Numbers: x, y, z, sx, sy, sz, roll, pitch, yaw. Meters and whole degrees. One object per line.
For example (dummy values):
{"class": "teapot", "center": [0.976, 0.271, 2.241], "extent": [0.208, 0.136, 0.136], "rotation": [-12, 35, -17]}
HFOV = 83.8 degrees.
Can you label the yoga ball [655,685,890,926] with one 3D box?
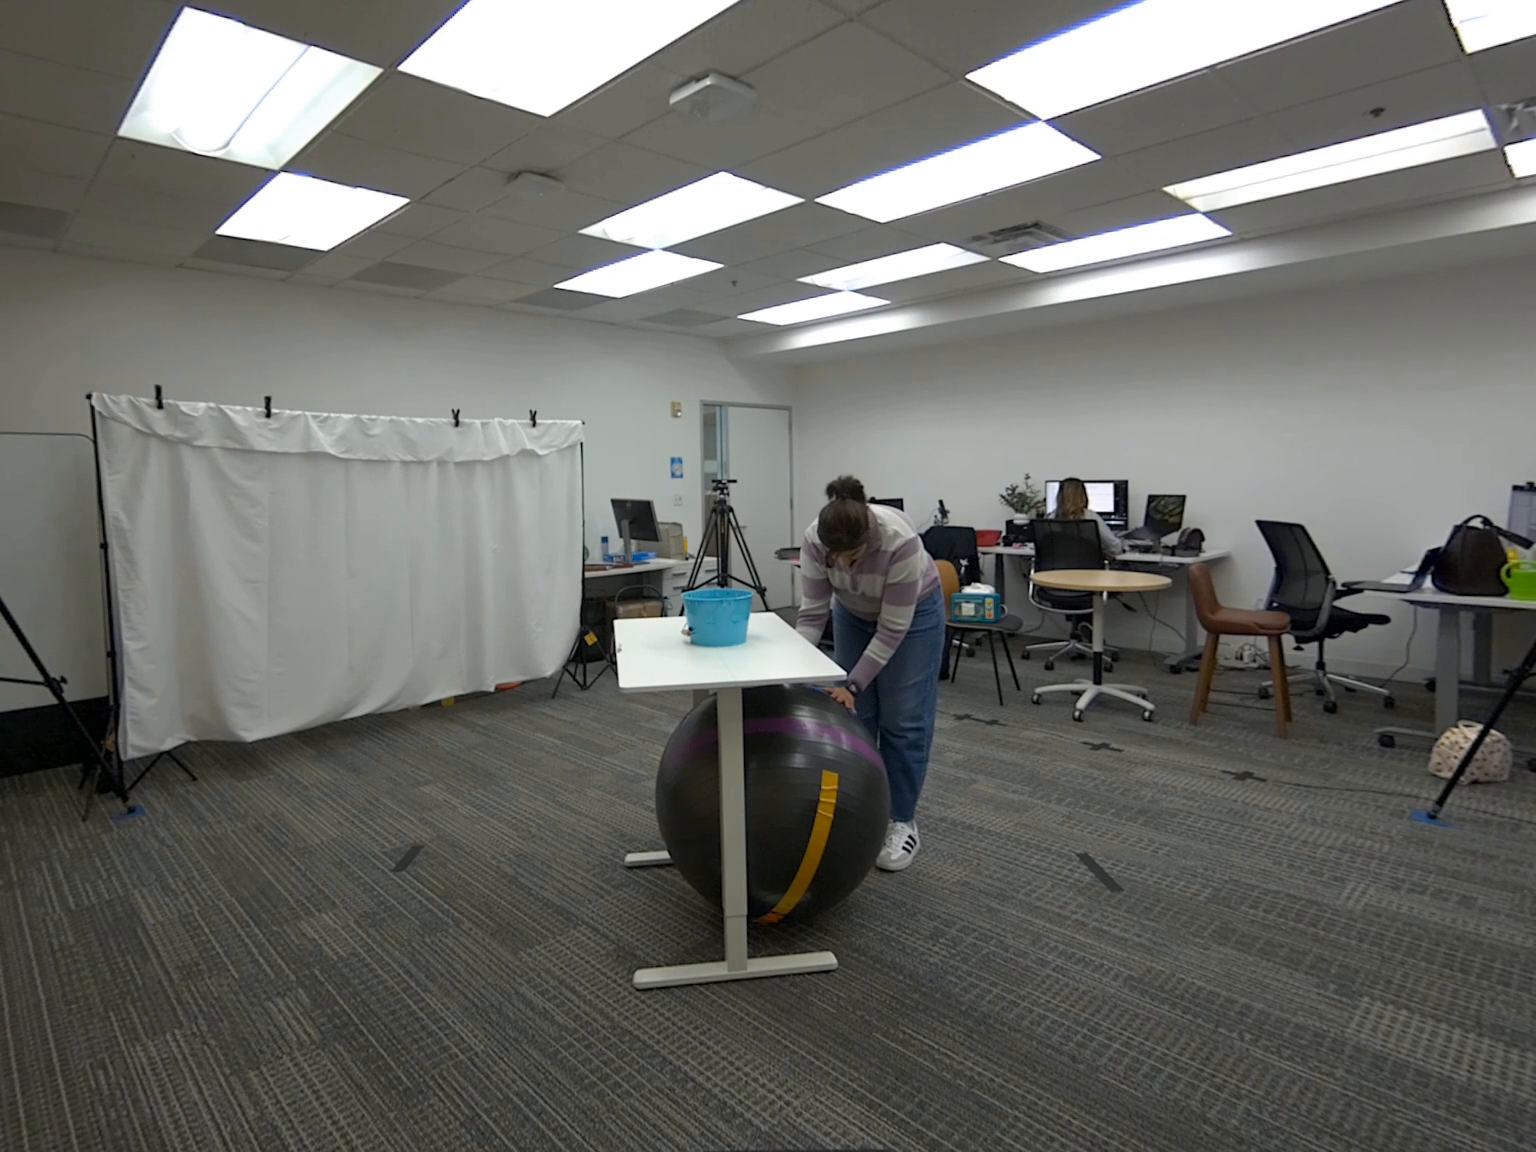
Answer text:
{"class": "yoga ball", "center": [0.018, 0.720, 2.764], "extent": [0.757, 0.755, 0.762], "rotation": [-1, 5, -2]}
